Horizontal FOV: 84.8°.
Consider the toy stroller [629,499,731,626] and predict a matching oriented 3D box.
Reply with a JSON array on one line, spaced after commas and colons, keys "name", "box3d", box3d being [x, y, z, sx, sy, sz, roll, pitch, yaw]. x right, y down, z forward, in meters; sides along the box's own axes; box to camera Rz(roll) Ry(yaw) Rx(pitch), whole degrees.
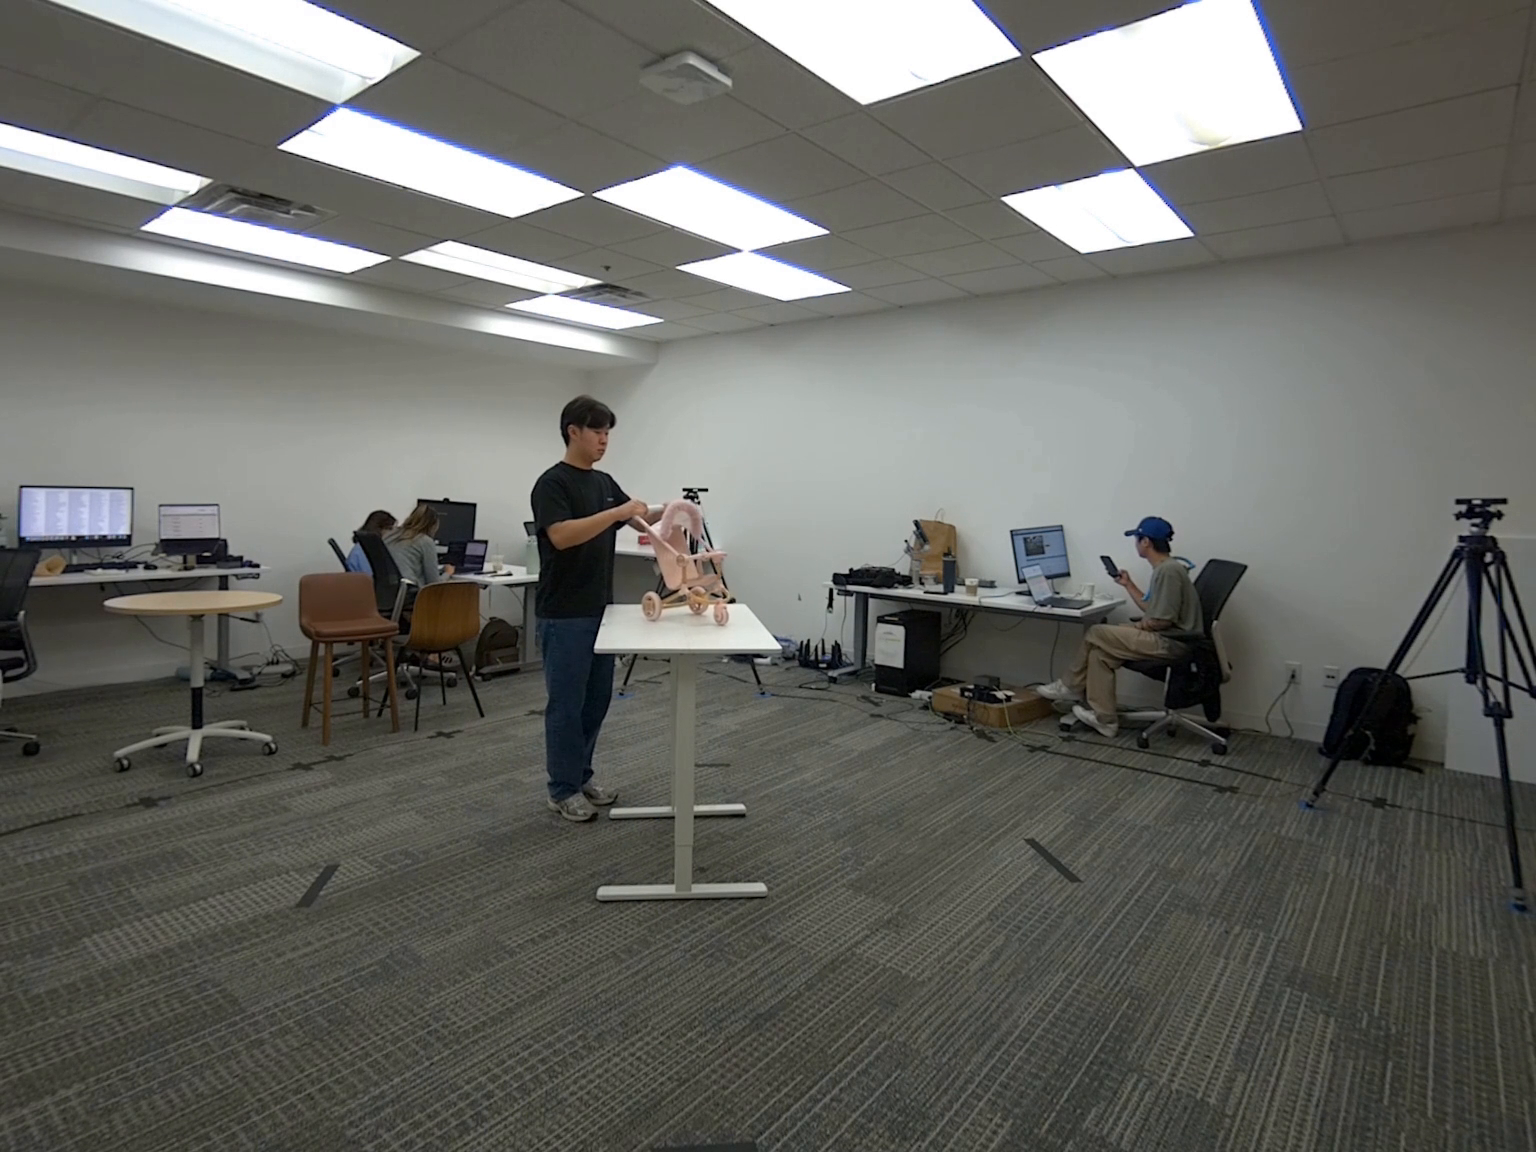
[{"name": "toy stroller", "box3d": [-0.328, -0.058, 3.278, 0.273, 0.540, 0.349, -4, -9, -43]}]
